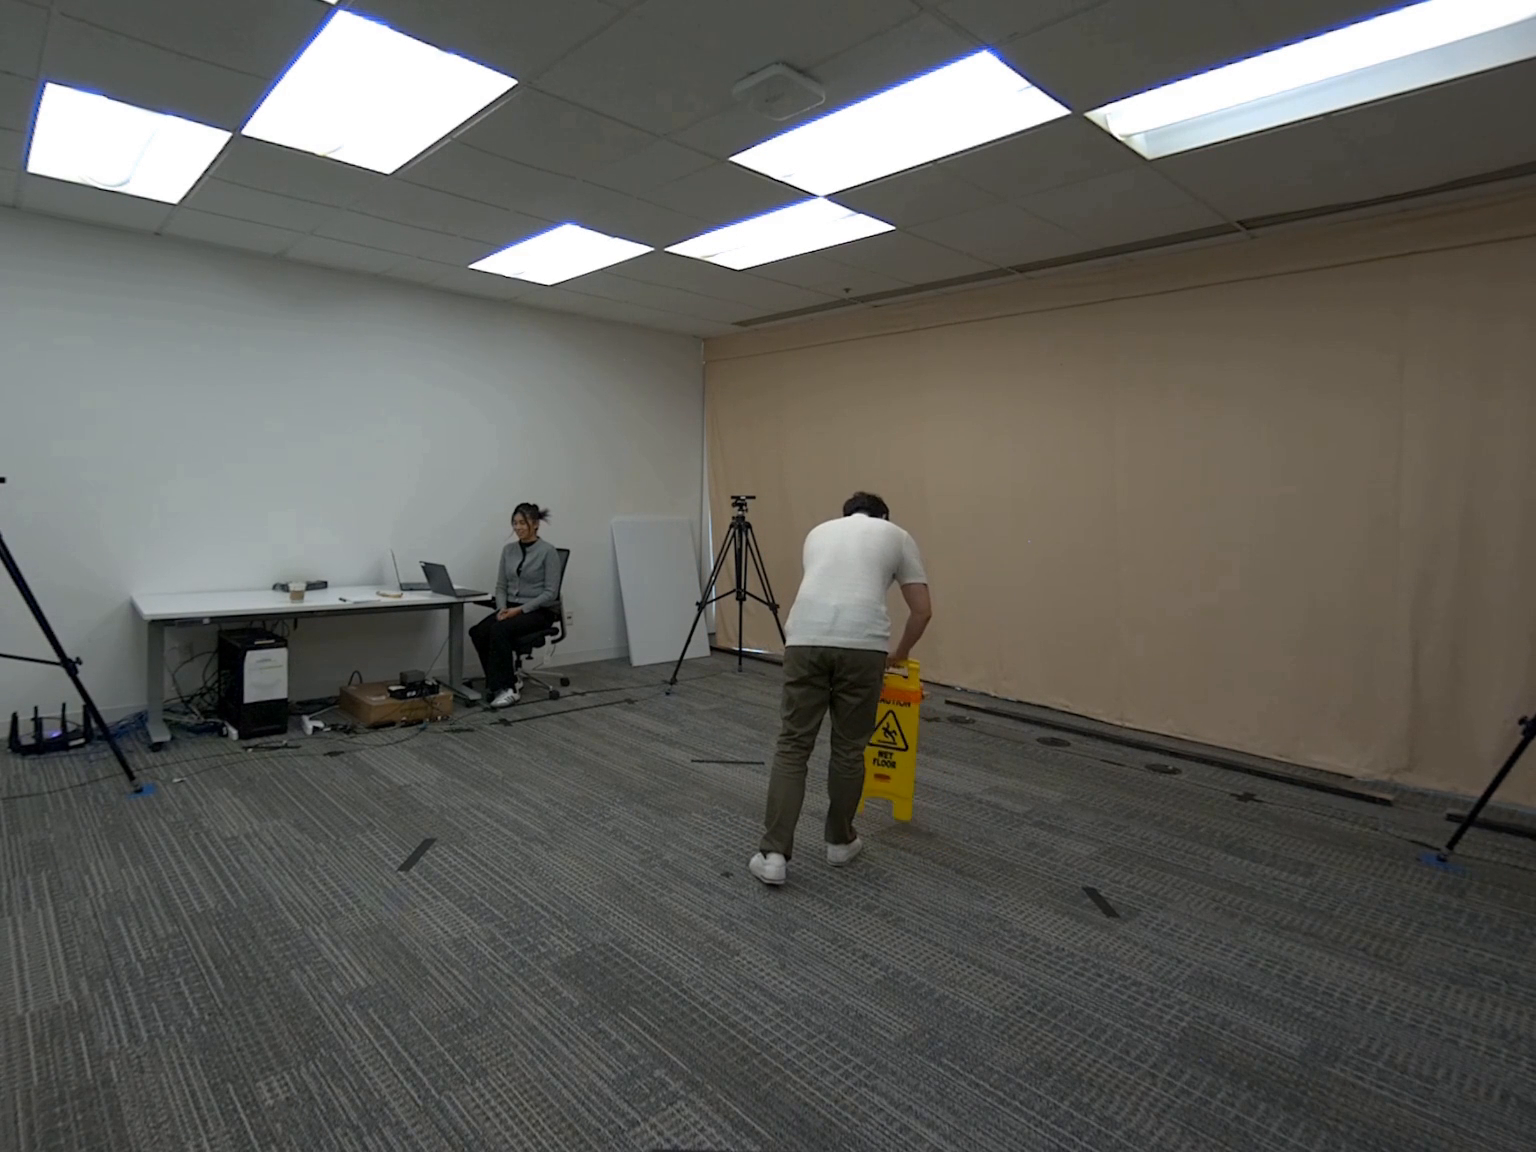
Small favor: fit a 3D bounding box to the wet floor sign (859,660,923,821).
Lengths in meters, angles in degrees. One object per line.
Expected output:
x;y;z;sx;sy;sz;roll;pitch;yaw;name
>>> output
0.499;0.655;3.598;0.284;0.642;0.290;9;10;6;wet floor sign
